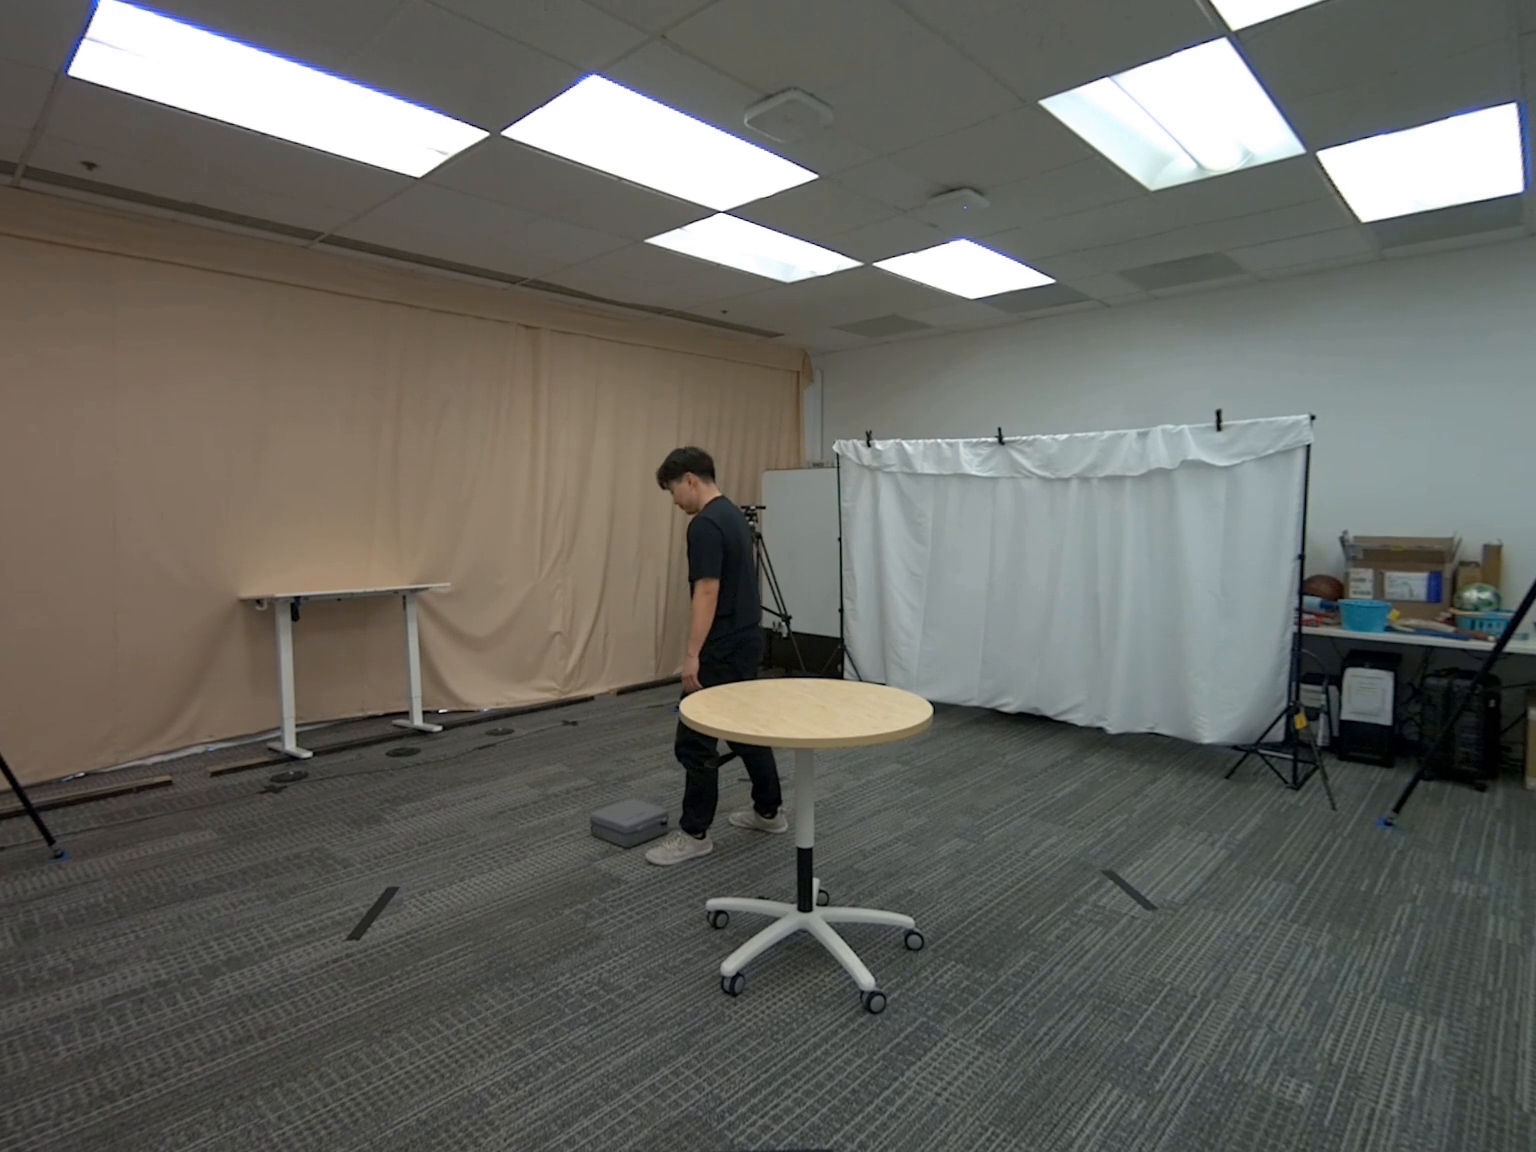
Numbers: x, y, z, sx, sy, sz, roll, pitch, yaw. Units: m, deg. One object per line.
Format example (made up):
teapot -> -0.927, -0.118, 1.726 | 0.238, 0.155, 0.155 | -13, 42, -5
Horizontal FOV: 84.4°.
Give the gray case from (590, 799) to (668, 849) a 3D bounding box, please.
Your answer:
gray case -> -0.596, 1.045, 3.583 | 0.269, 0.104, 0.249 | 1, 6, 41
